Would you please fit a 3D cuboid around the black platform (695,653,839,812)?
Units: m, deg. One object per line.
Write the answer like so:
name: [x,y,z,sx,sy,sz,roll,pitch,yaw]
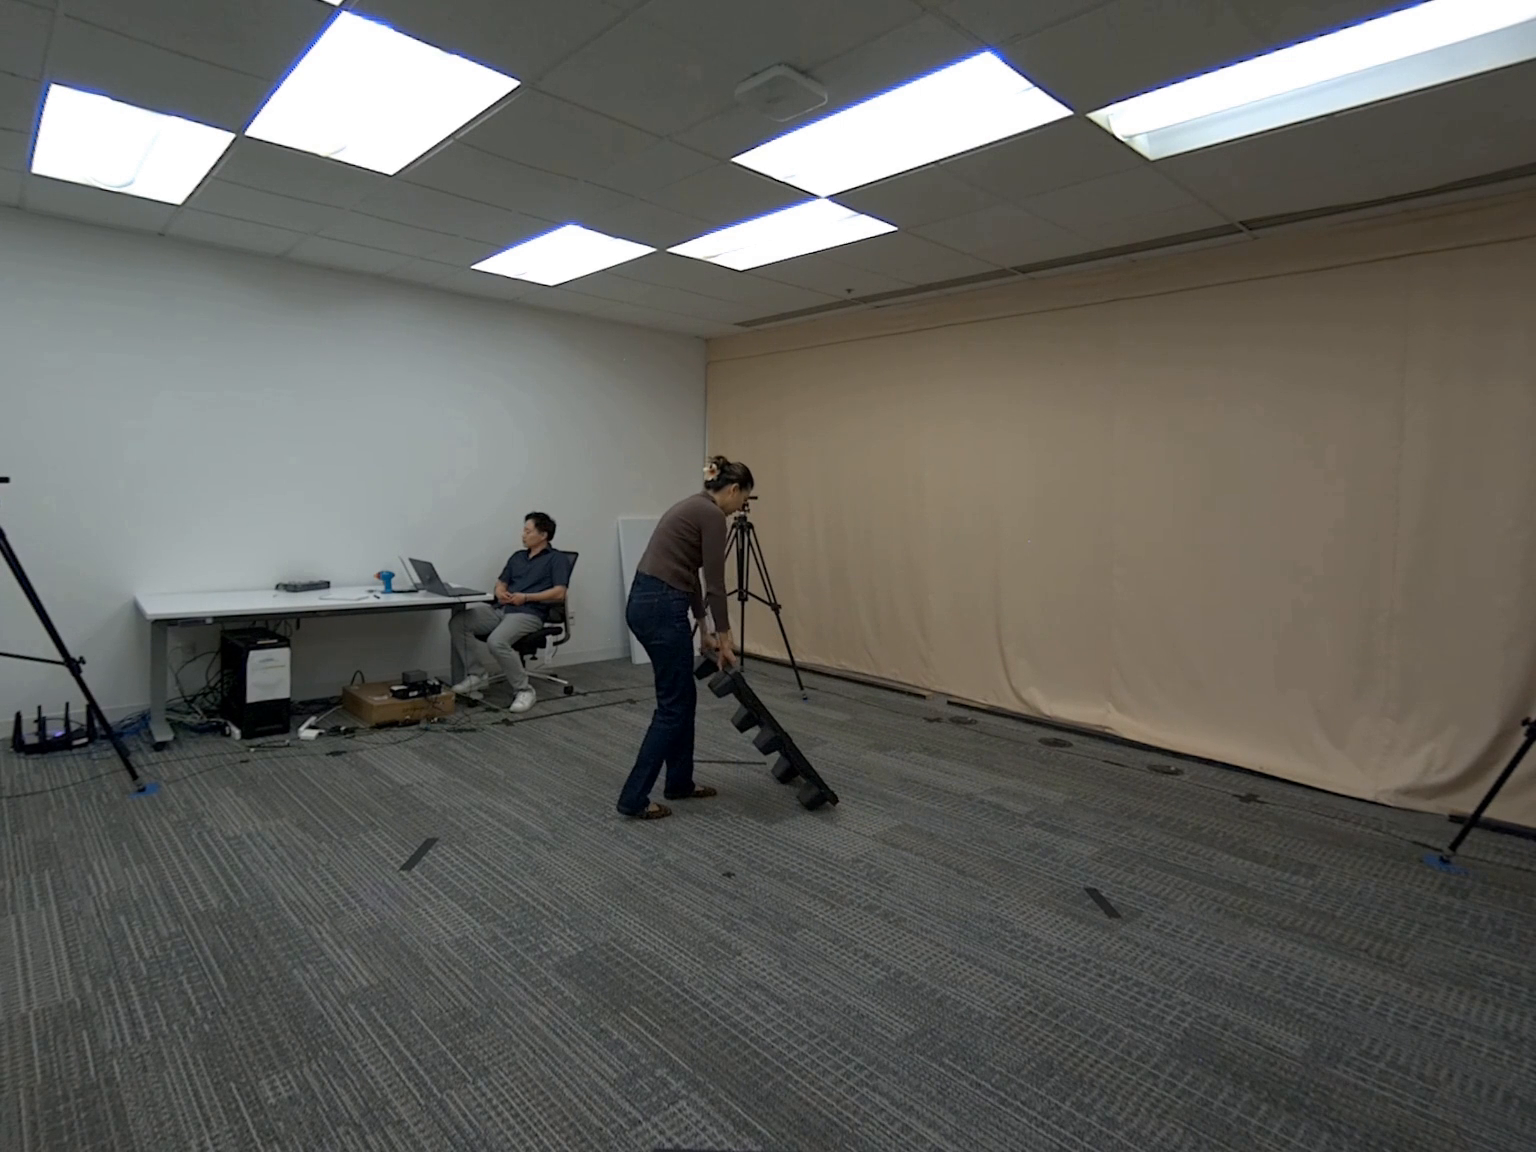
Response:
black platform: [-0.058,0.704,3.936,0.143,0.795,0.614,-39,13,-12]
